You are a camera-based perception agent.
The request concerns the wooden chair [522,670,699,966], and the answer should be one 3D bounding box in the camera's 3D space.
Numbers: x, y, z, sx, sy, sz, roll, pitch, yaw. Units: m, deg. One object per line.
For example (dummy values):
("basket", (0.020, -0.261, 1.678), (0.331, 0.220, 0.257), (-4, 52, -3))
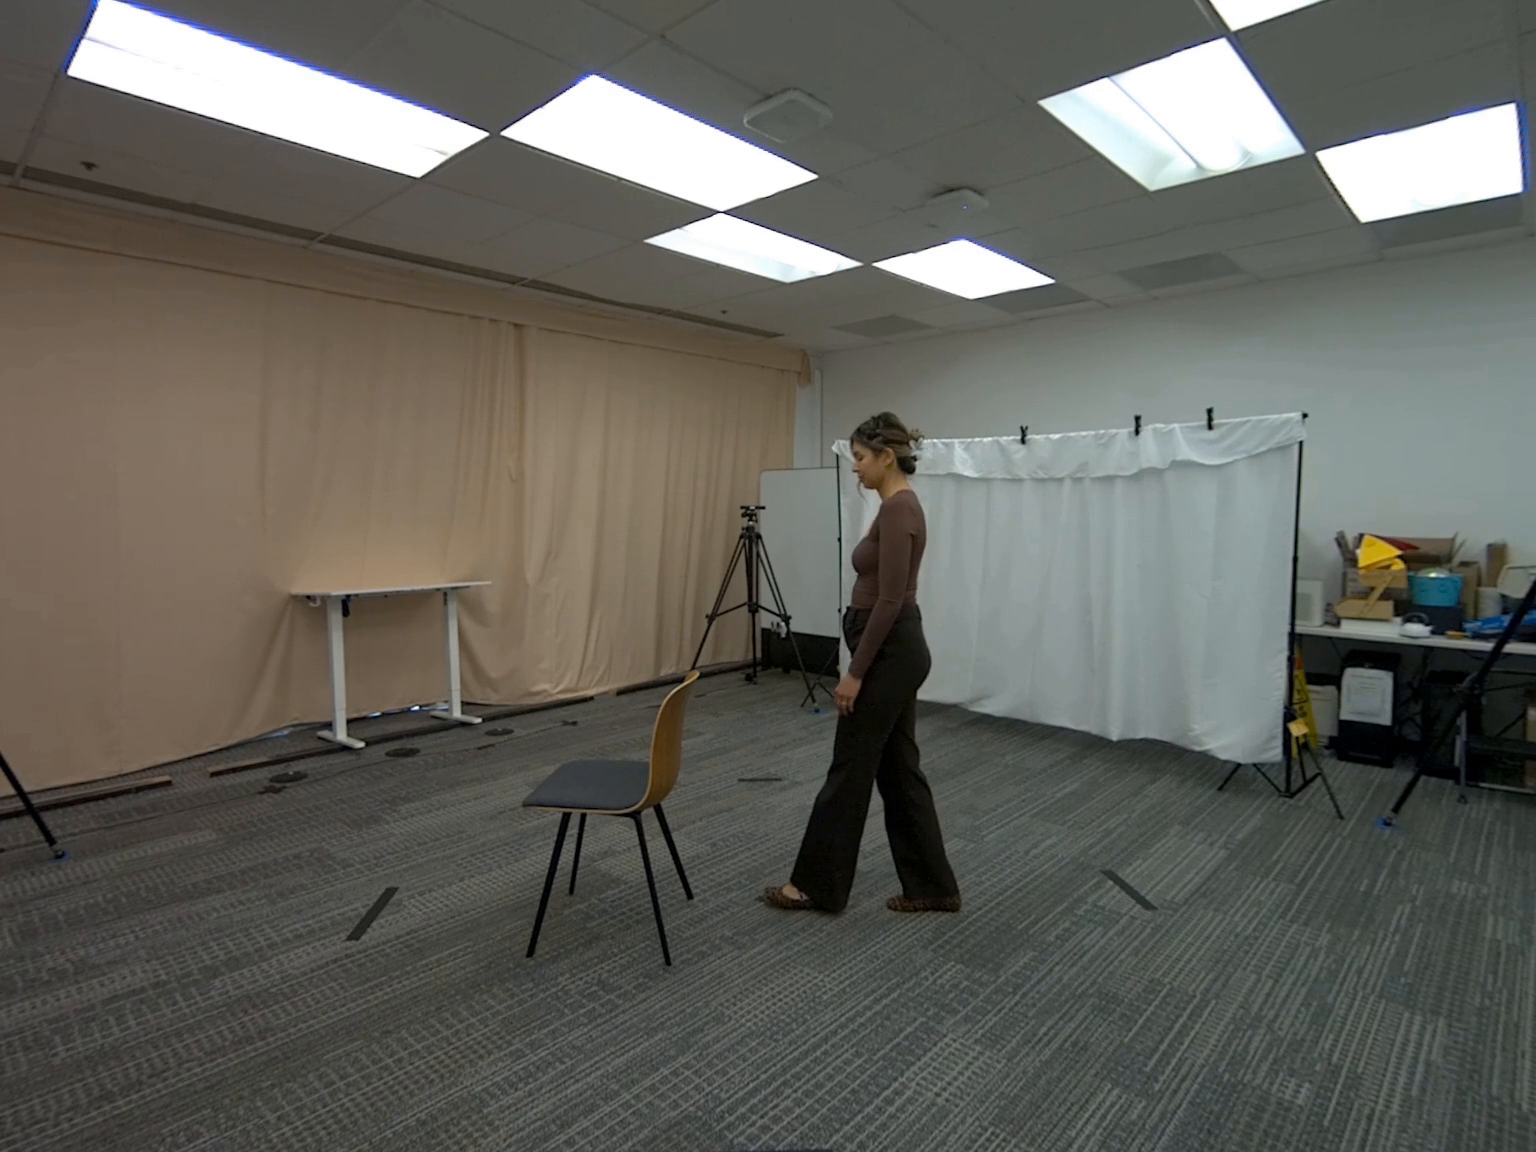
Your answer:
("wooden chair", (-0.515, 0.738, 2.770), (0.527, 0.875, 0.476), (4, 4, 5))
